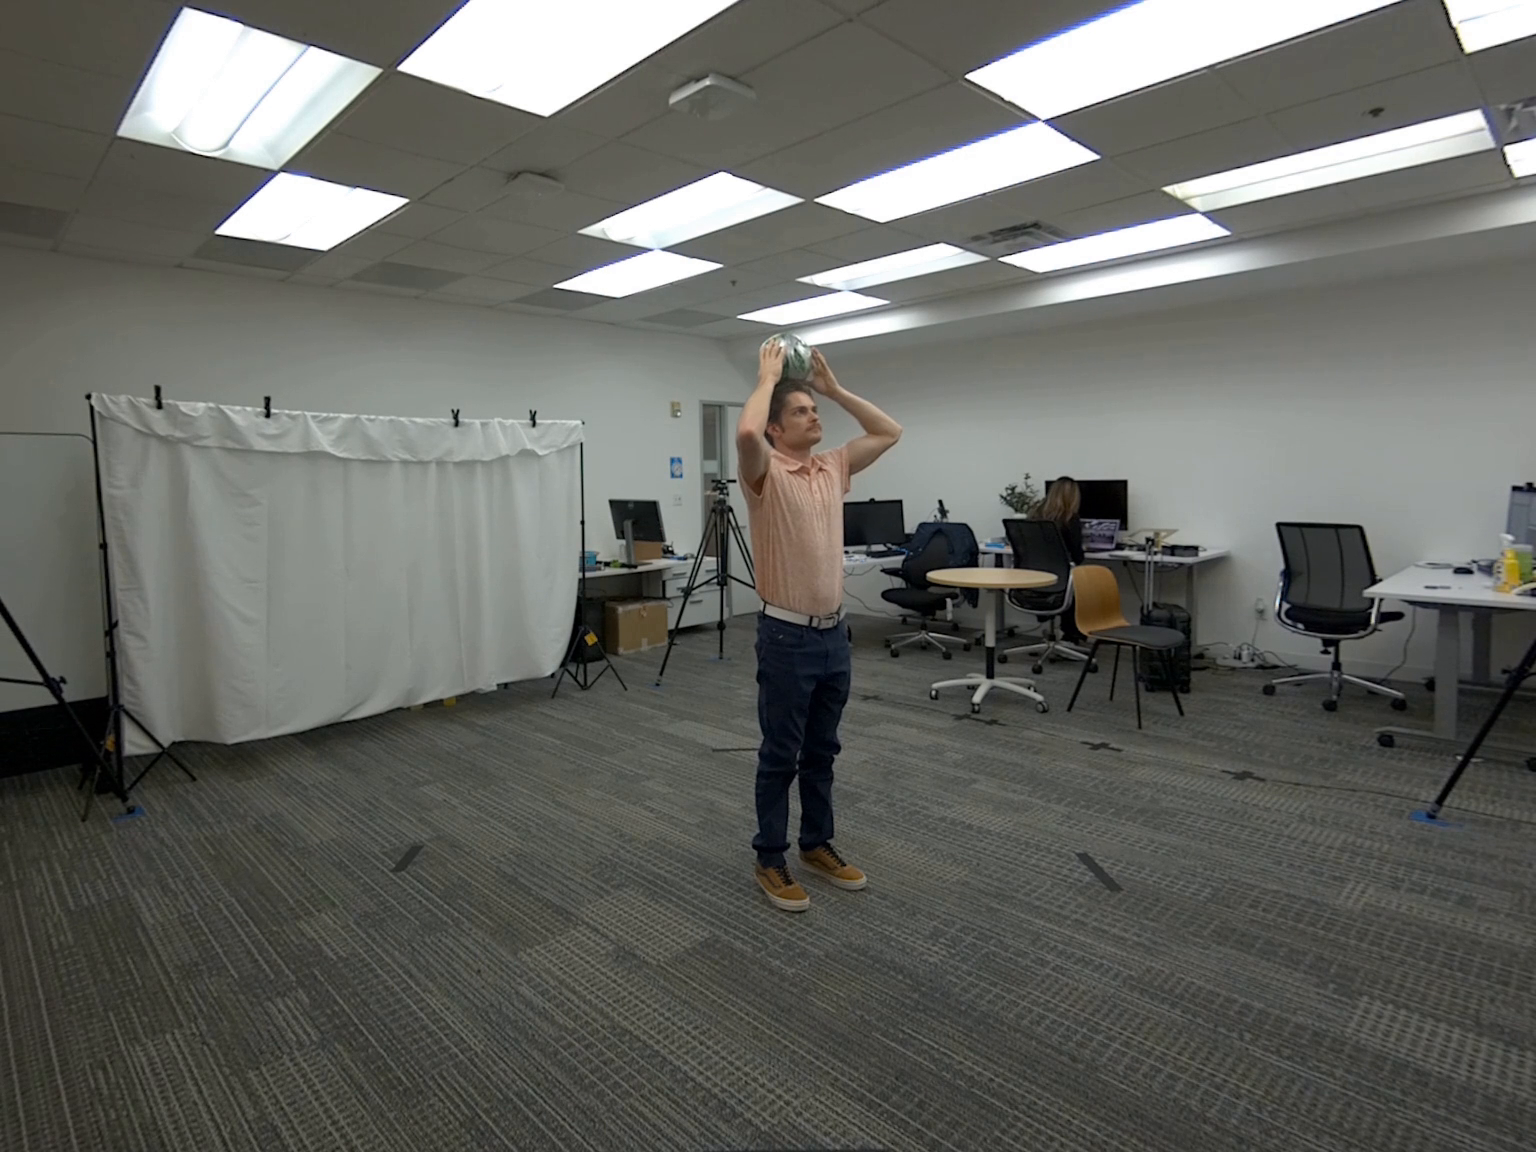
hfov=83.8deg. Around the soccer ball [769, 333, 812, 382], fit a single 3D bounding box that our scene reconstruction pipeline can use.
[{"bbox_3d":[0.060,-0.725,2.884,0.187,0.187,0.188,-1,5,-2],"label":"soccer ball"}]
